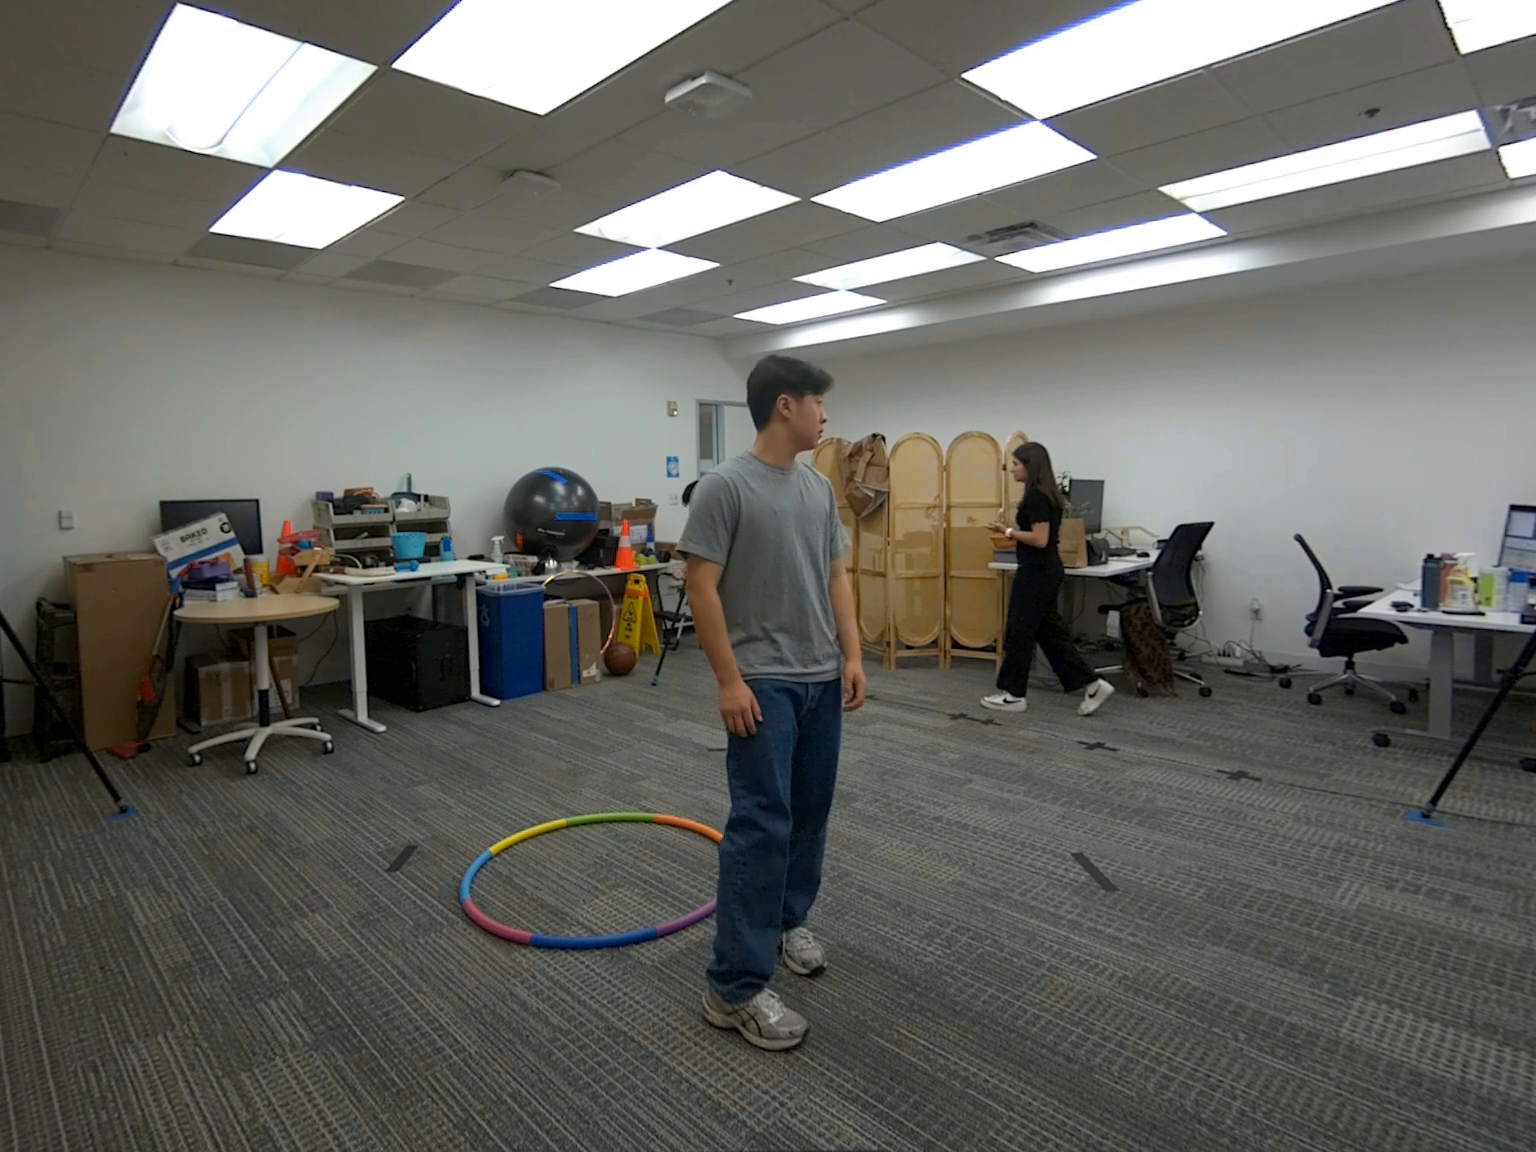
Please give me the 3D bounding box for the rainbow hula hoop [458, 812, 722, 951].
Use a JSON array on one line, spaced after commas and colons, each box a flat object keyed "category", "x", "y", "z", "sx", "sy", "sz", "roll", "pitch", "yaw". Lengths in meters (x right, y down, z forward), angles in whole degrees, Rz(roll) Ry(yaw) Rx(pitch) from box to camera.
[{"category": "rainbow hula hoop", "x": -0.578, "y": 1.031, "z": 3.040, "sx": 0.978, "sy": 0.035, "sz": 0.984, "roll": -1, "pitch": 7, "yaw": -2}]
